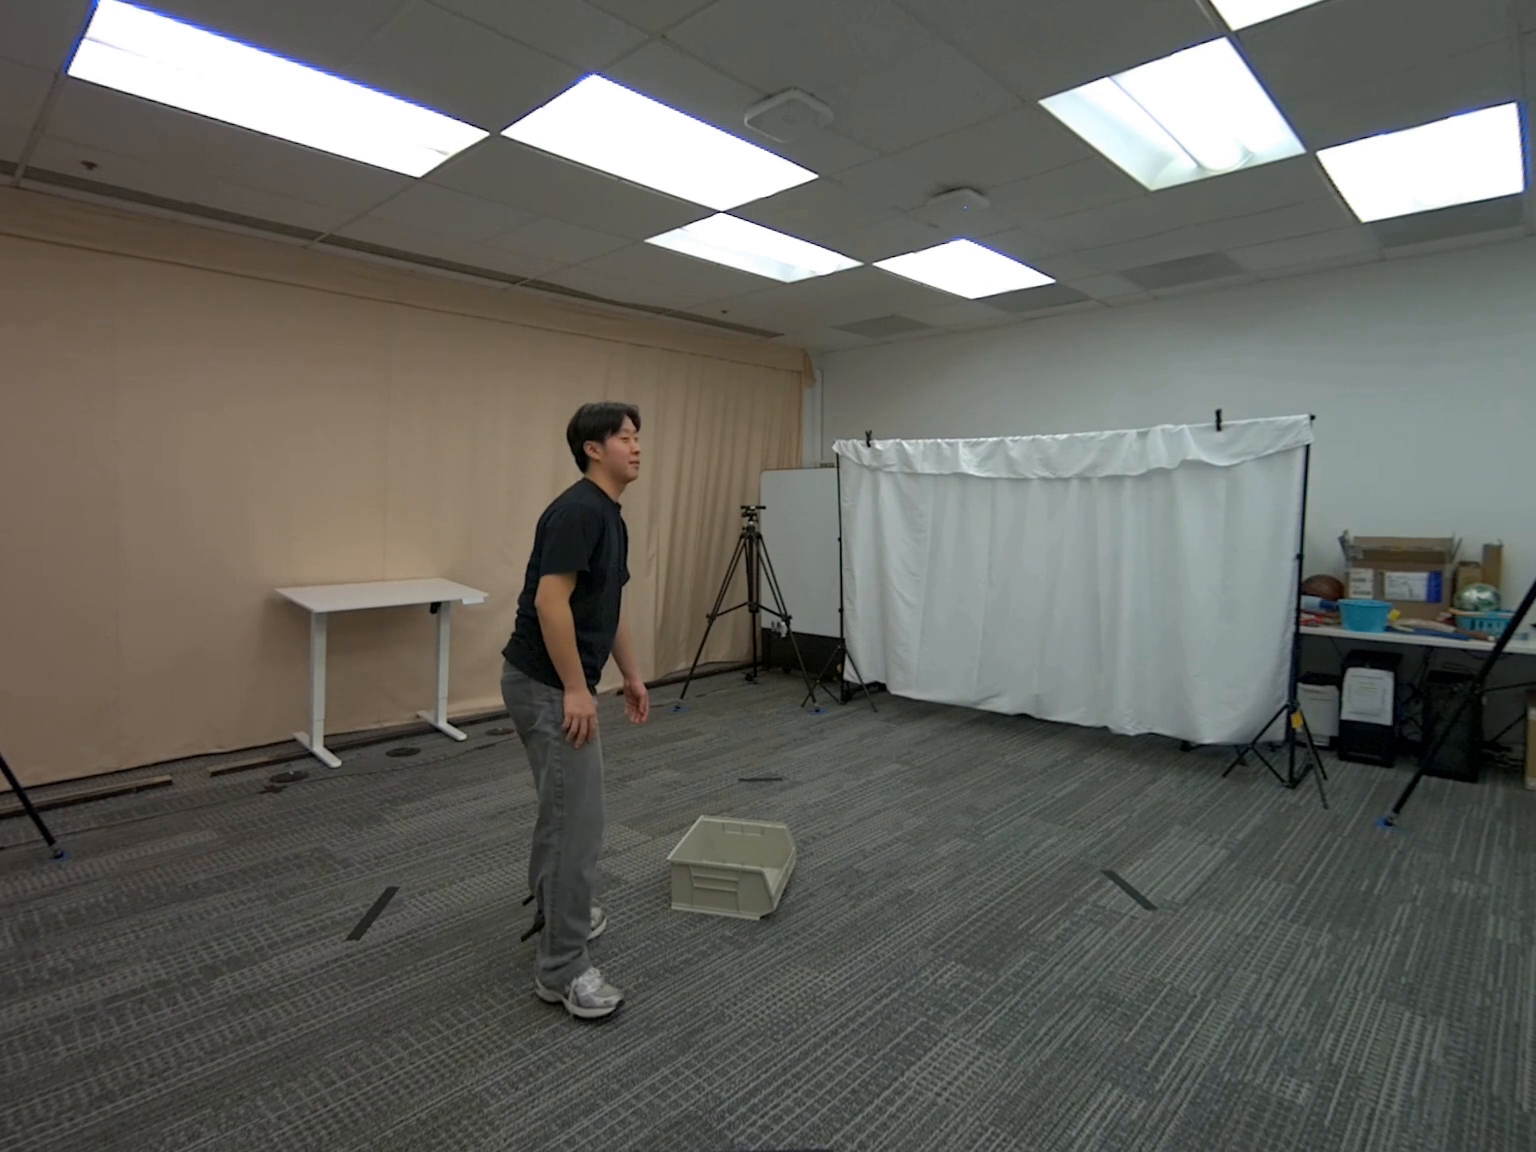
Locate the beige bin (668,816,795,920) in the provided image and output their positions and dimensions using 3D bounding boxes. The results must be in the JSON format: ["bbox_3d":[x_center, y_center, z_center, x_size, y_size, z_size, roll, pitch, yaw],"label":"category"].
[{"bbox_3d":[-0.120,1.048,3.053,0.383,0.188,0.417,0,5,13],"label":"beige bin"}]
